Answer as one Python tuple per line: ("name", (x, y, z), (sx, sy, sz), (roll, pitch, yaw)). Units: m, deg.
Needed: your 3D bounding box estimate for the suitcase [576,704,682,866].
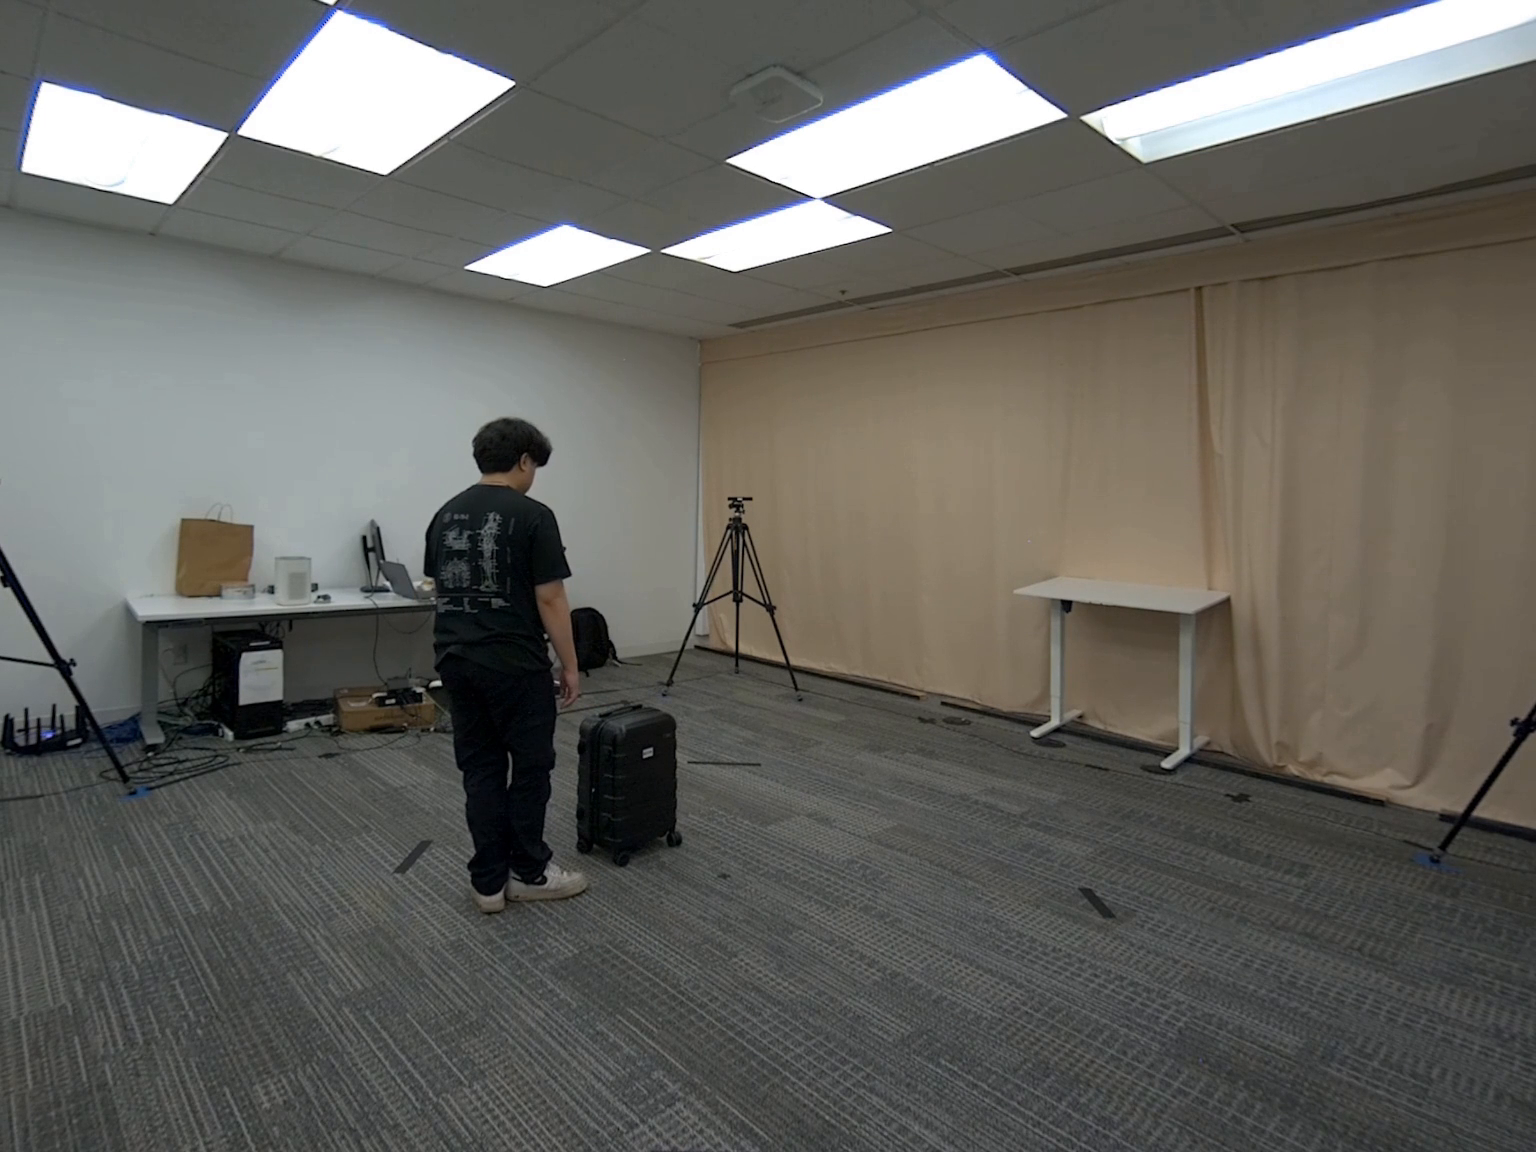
("suitcase", (-0.559, 0.803, 3.330), (0.254, 0.548, 0.367), (3, 3, 39))
